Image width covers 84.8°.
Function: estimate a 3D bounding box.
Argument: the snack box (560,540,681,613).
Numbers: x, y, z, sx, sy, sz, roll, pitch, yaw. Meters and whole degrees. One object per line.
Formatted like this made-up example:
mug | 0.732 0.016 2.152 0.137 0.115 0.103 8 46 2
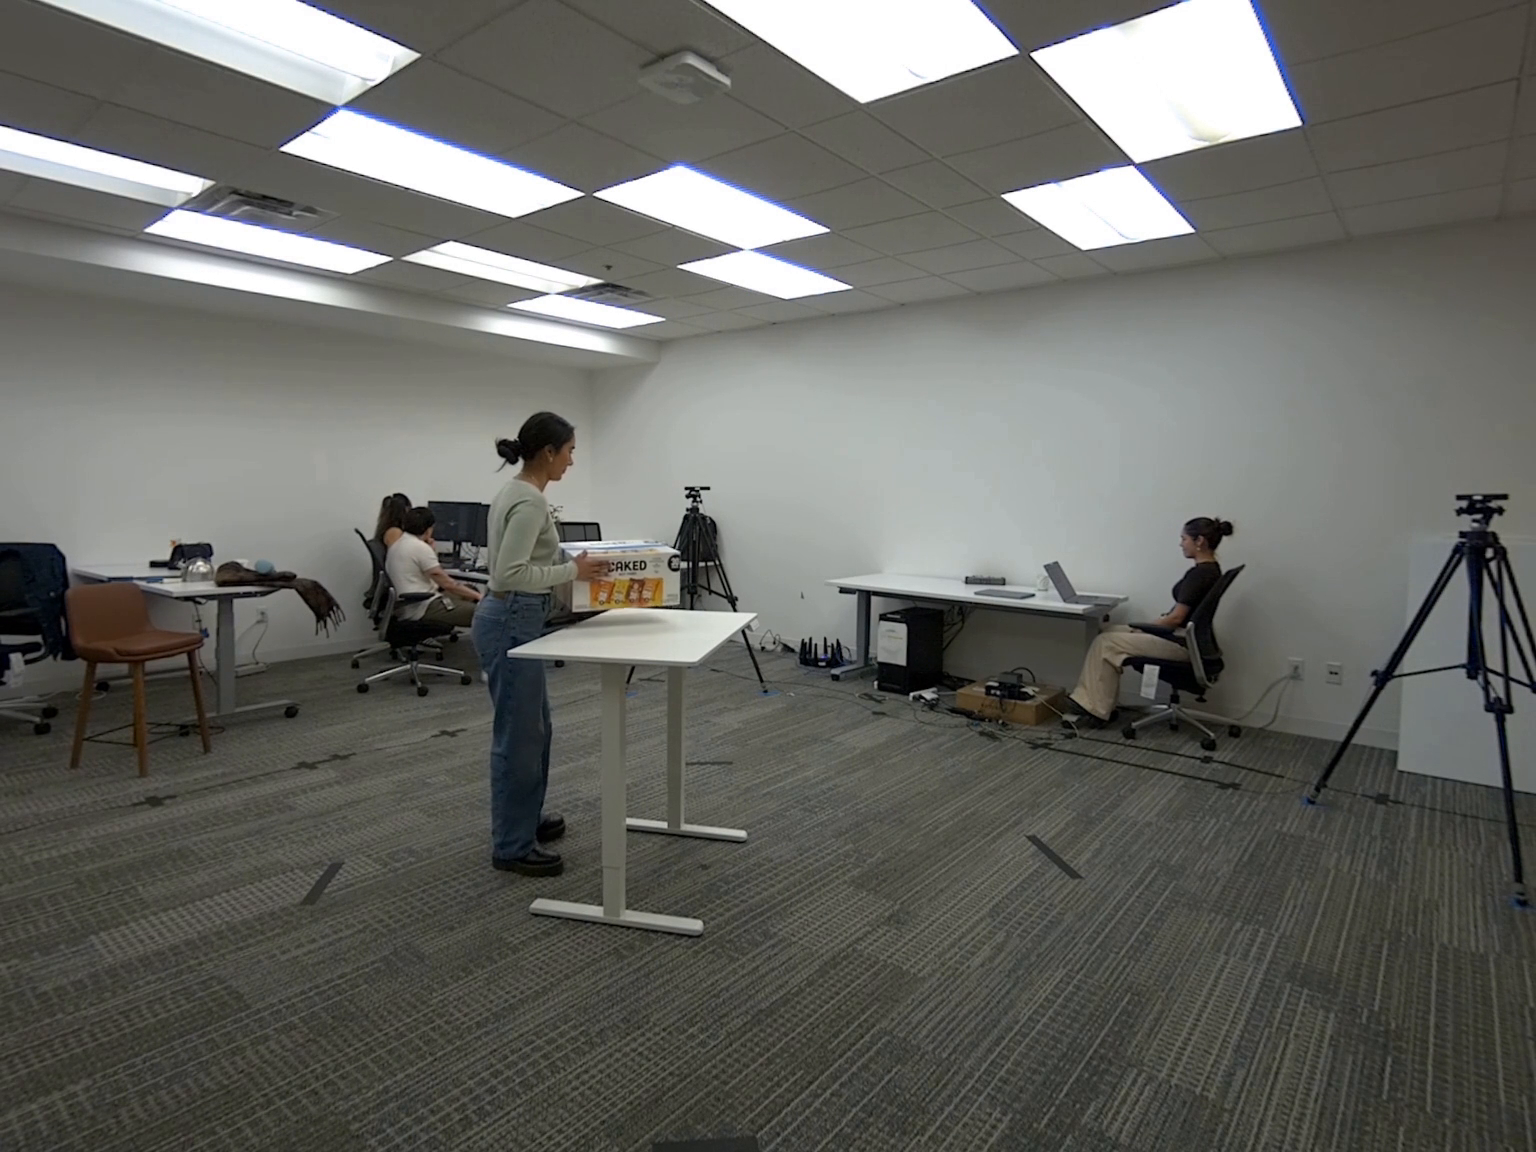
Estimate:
snack box | -0.590 -0.015 3.224 0.396 0.204 0.351 -3 11 -24
